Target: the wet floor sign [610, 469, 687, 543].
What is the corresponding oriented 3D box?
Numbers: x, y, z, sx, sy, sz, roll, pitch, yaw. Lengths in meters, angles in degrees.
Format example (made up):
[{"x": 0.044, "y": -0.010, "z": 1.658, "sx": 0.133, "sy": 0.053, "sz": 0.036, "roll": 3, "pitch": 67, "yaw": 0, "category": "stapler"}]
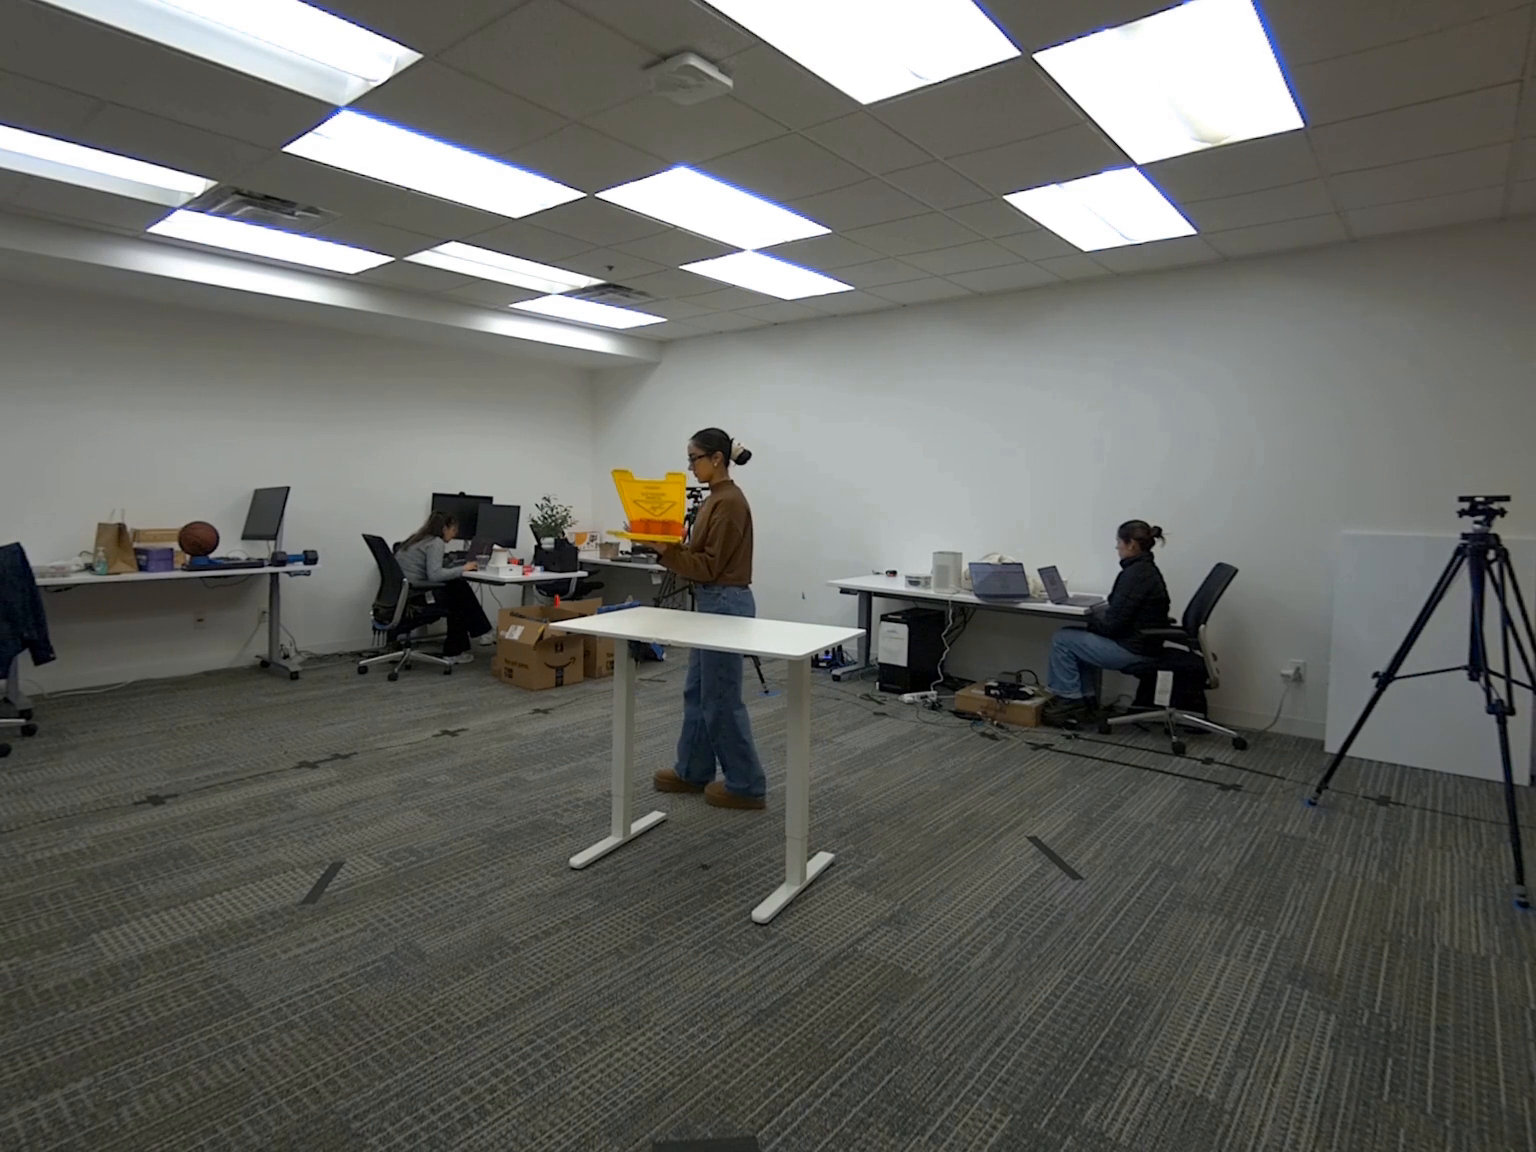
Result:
[{"x": -0.480, "y": -0.212, "z": 3.429, "sx": 0.282, "sy": 0.292, "sz": 0.641, "roll": 4, "pitch": -8, "yaw": -2, "category": "wet floor sign"}]
